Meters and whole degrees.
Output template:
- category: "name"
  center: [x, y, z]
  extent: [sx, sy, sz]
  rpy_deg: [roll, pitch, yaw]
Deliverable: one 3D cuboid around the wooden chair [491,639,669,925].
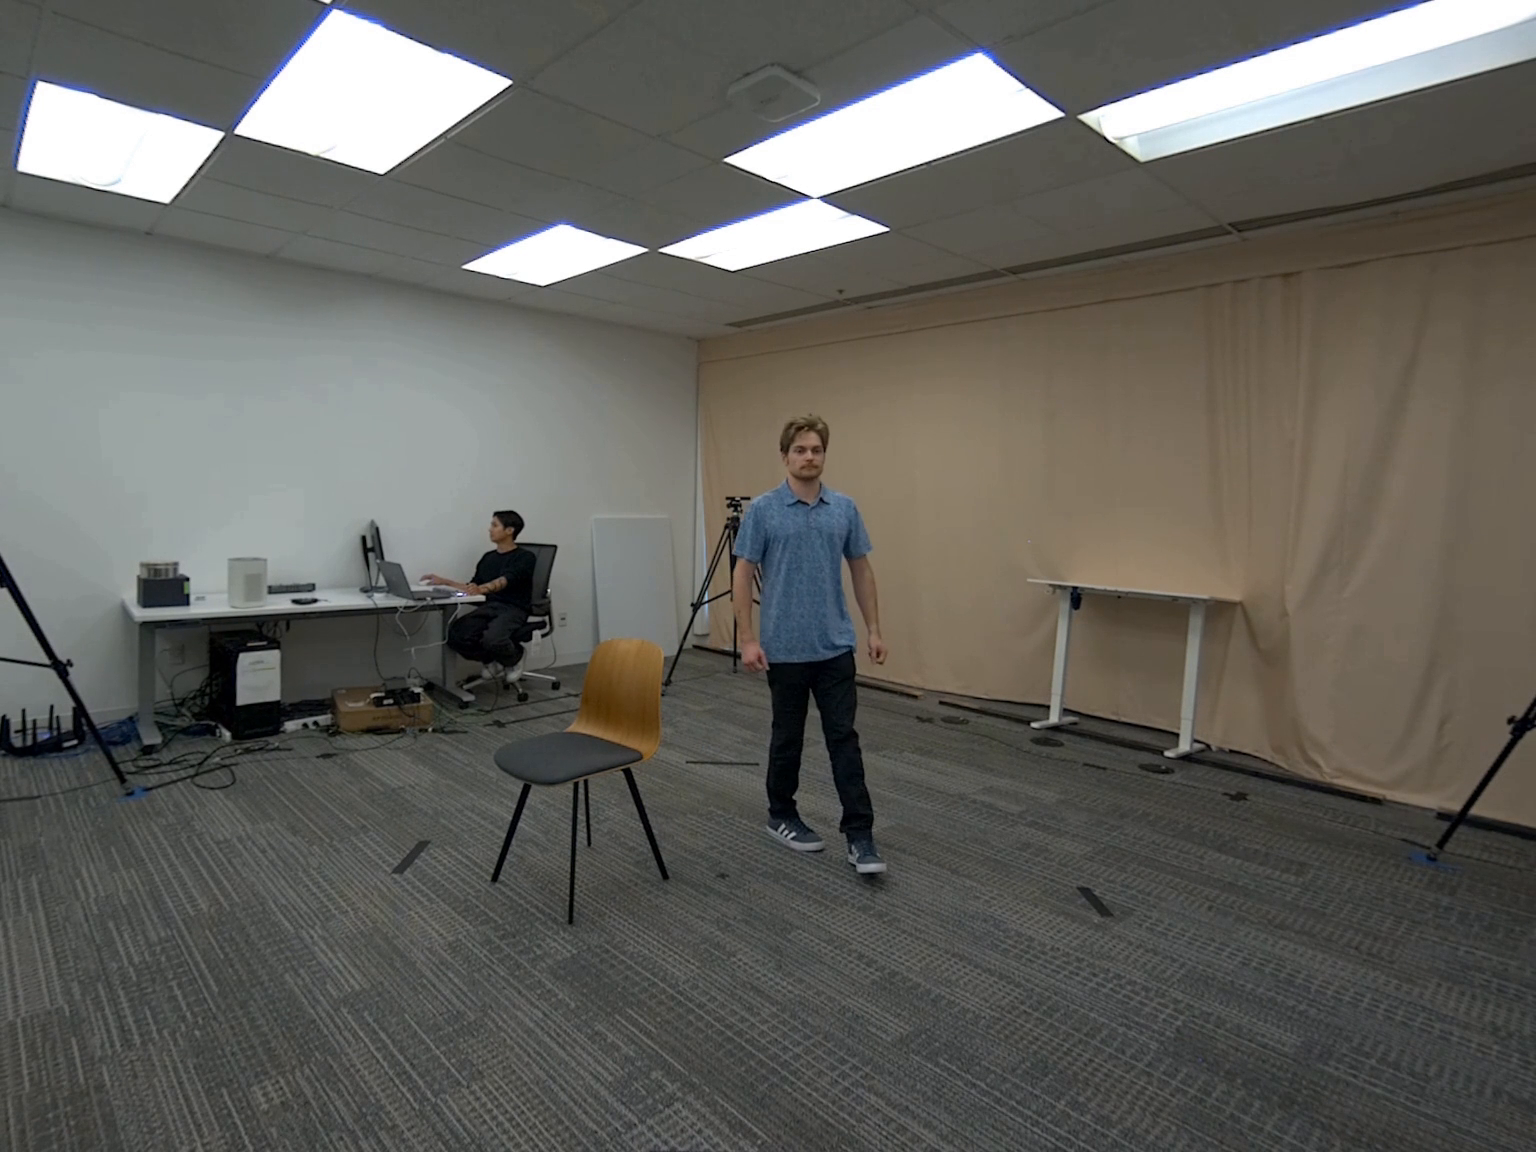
- category: "wooden chair"
  center: [-0.674, 0.677, 2.999]
  extent: [0.490, 0.877, 0.510]
  rpy_deg: [4, 0, 40]
